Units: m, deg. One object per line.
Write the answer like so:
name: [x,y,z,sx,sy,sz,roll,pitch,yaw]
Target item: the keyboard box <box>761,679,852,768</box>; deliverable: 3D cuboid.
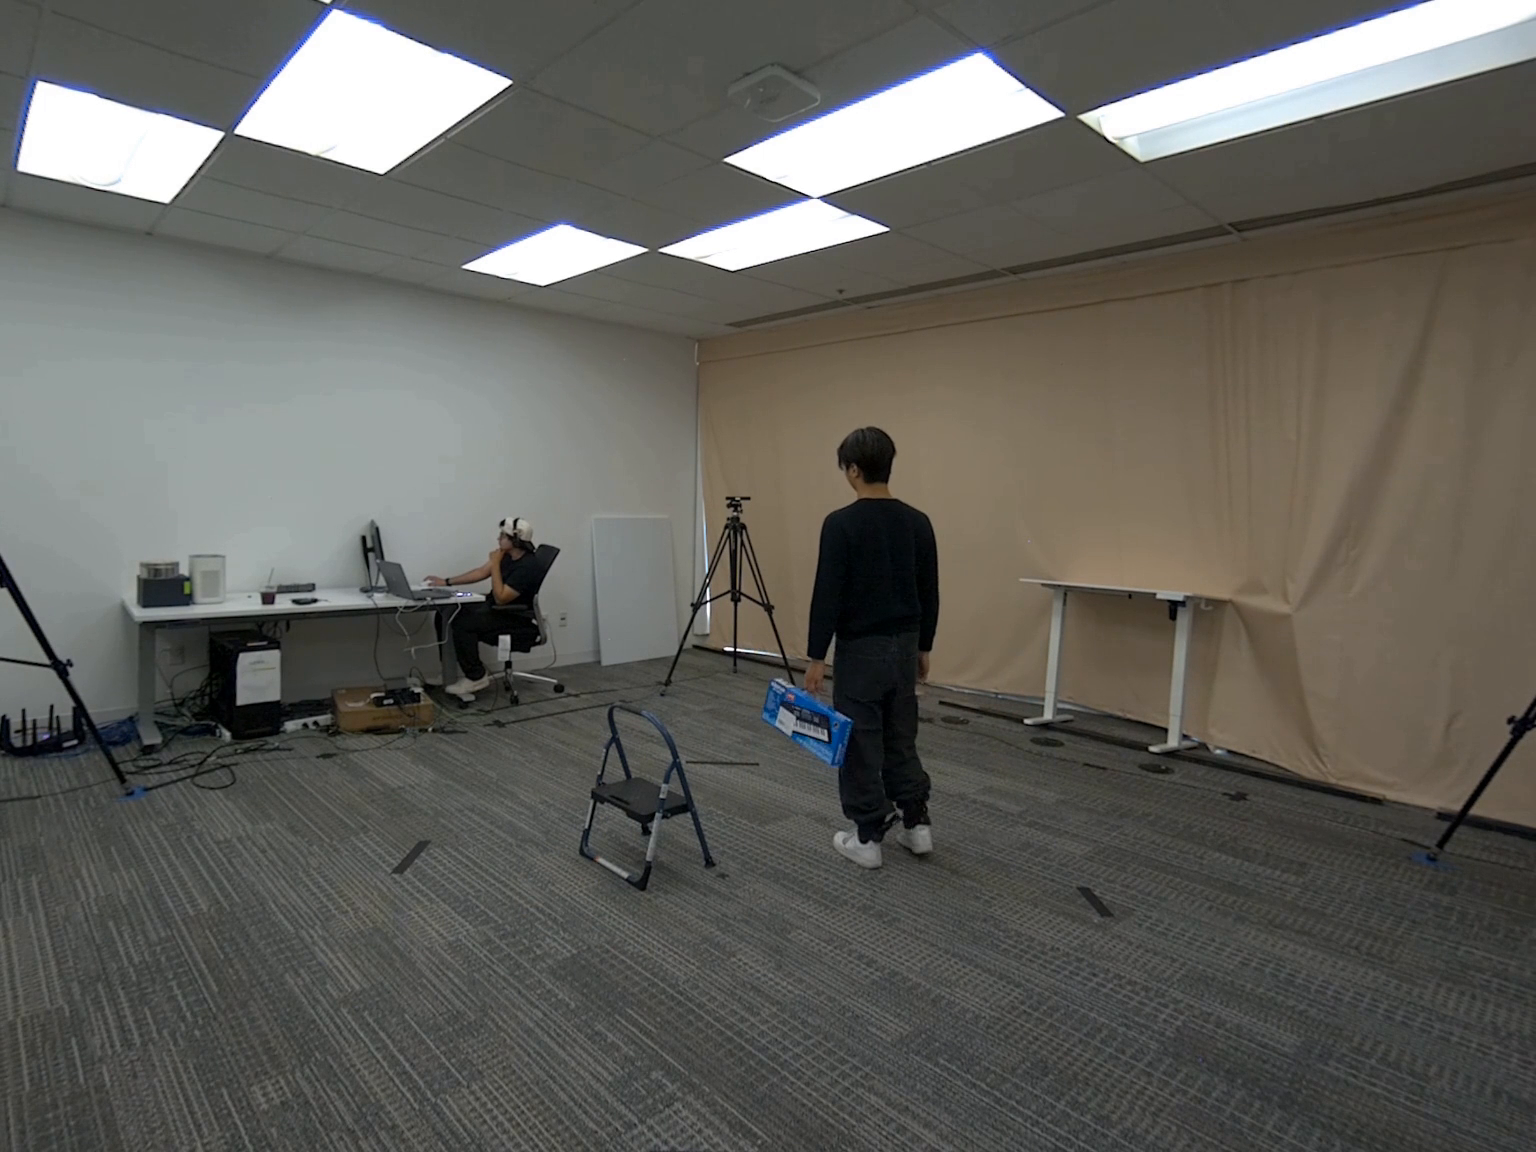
keyboard box: [0.144,0.554,3.227,0.057,0.175,0.450,6,11,-37]
